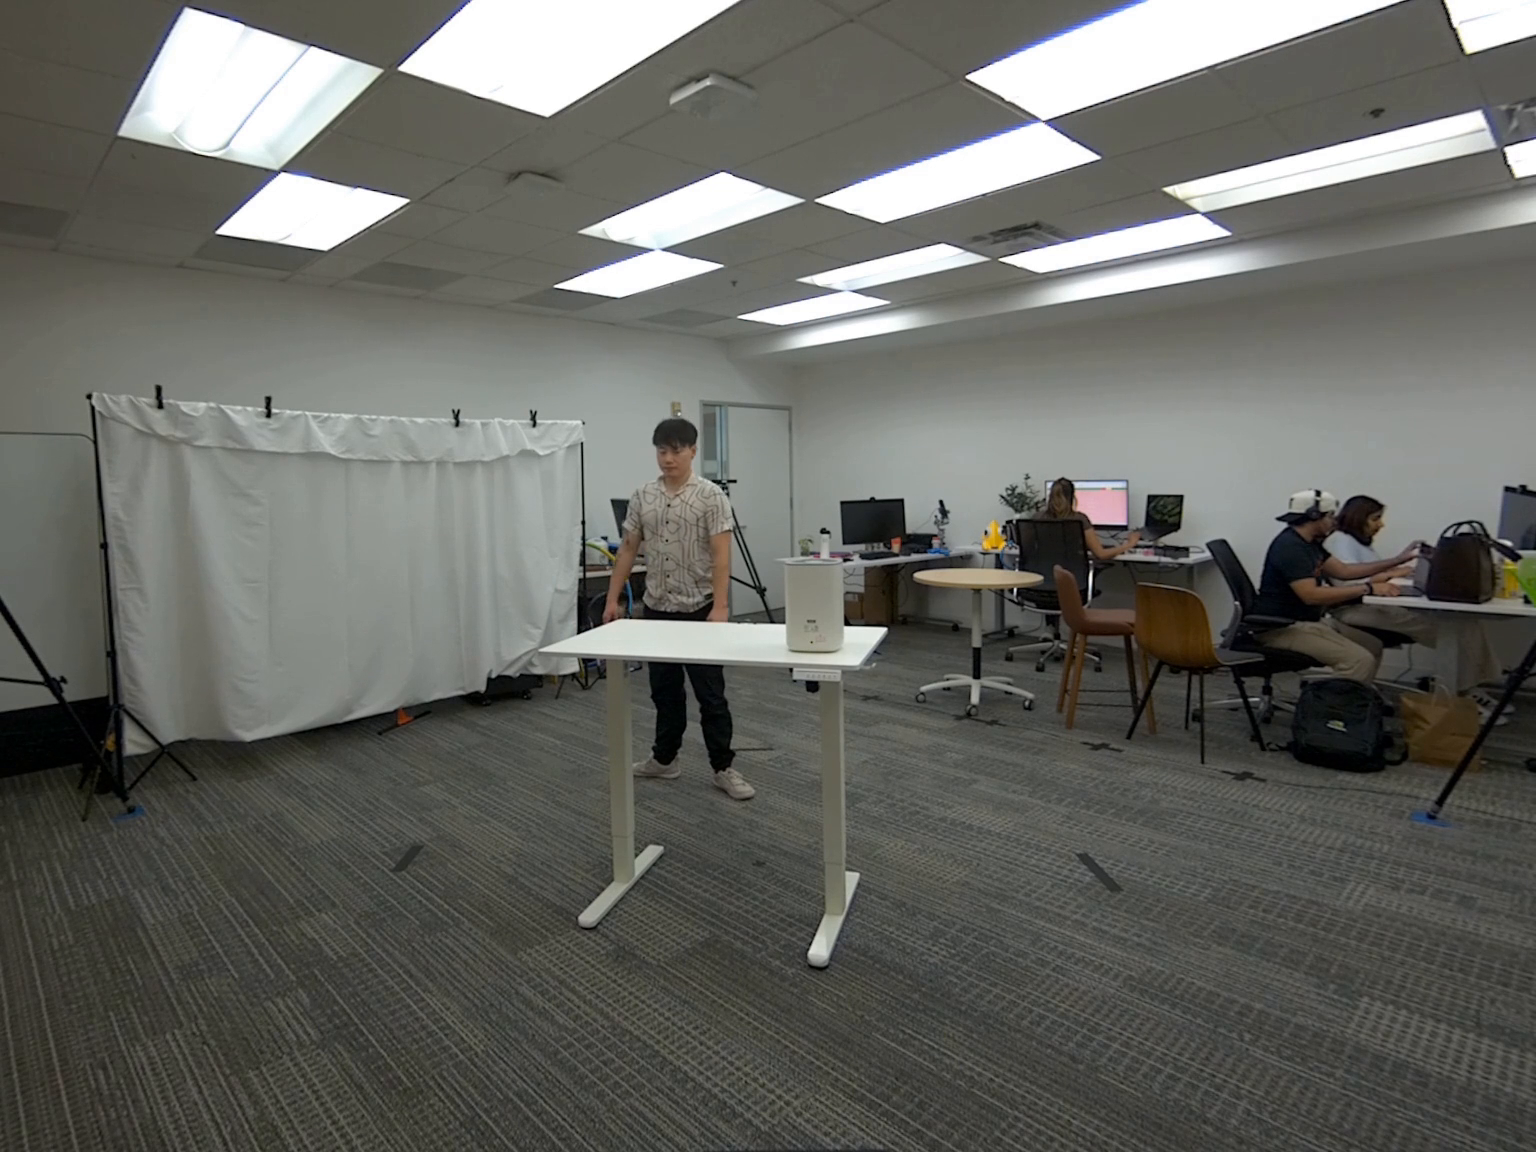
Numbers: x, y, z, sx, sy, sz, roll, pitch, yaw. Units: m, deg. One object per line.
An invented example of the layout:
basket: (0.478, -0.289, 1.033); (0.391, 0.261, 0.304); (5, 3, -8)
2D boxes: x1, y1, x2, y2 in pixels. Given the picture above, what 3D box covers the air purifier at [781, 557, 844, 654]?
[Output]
air purifier: (0.138, 0.093, 2.572); (0.173, 0.264, 0.170); (-2, 4, 11)
